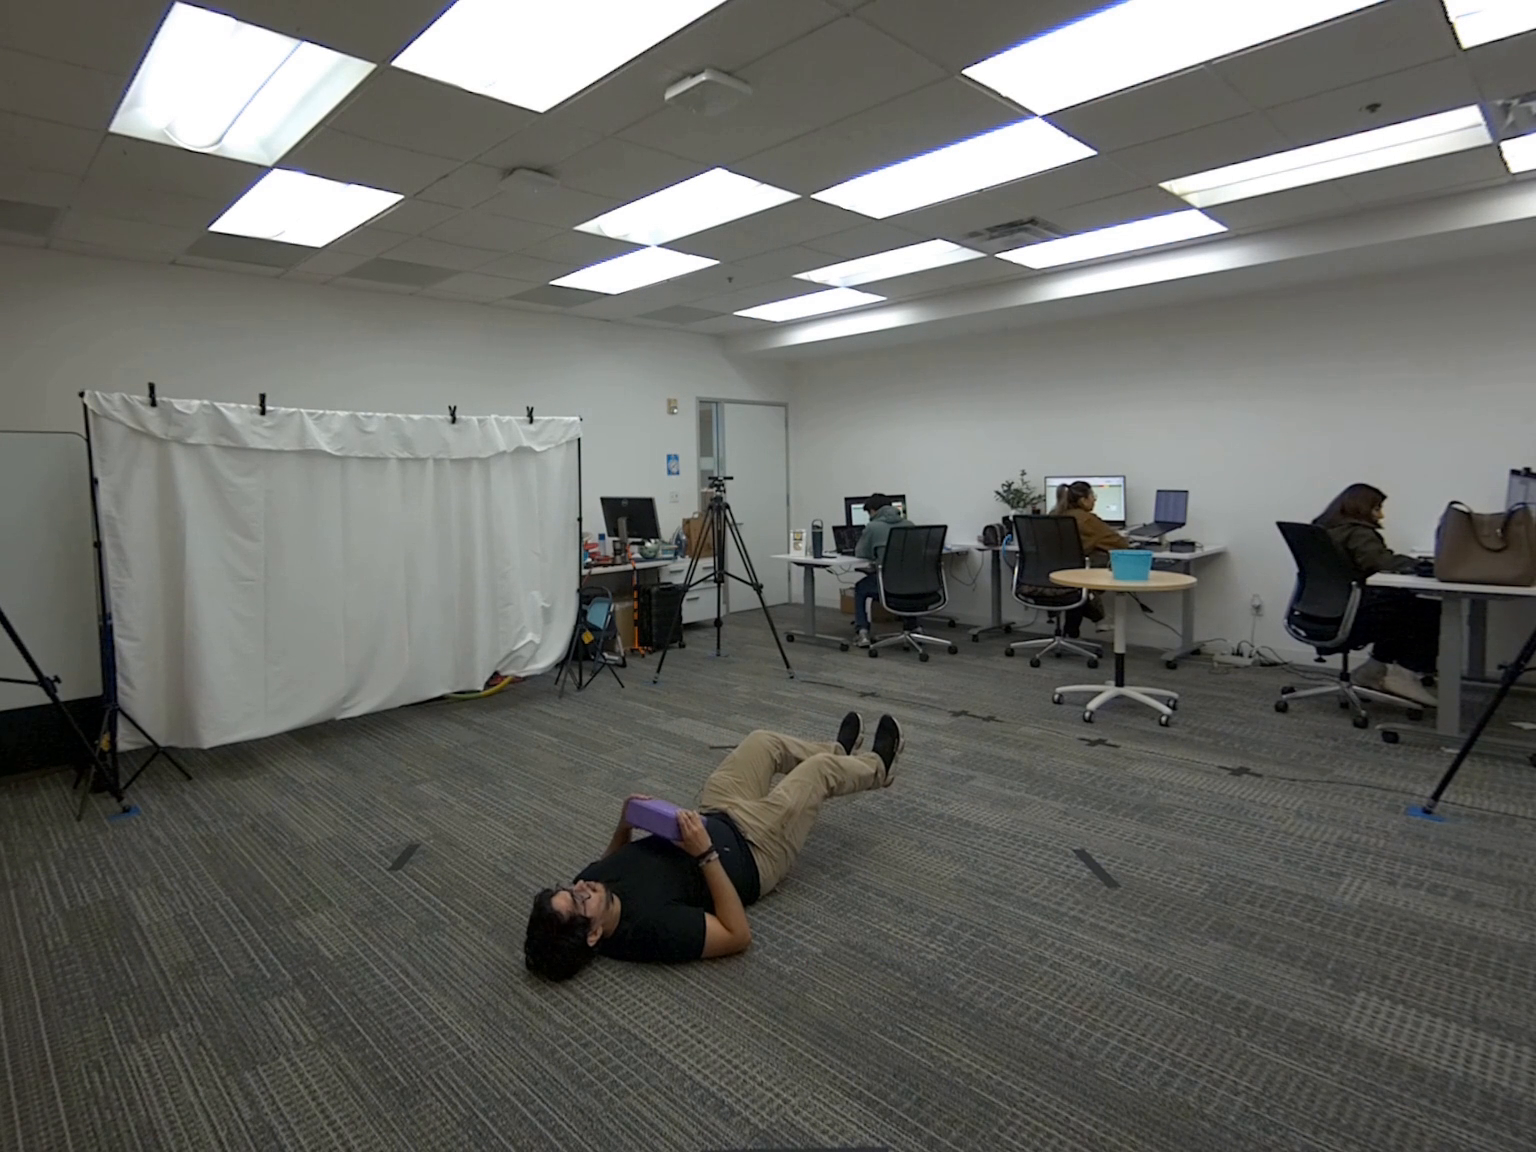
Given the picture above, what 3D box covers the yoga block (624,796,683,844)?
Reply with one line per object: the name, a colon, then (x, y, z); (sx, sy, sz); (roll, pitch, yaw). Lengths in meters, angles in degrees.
yoga block: (-0.320, 0.775, 2.710); (0.236, 0.077, 0.144); (5, -7, 43)
